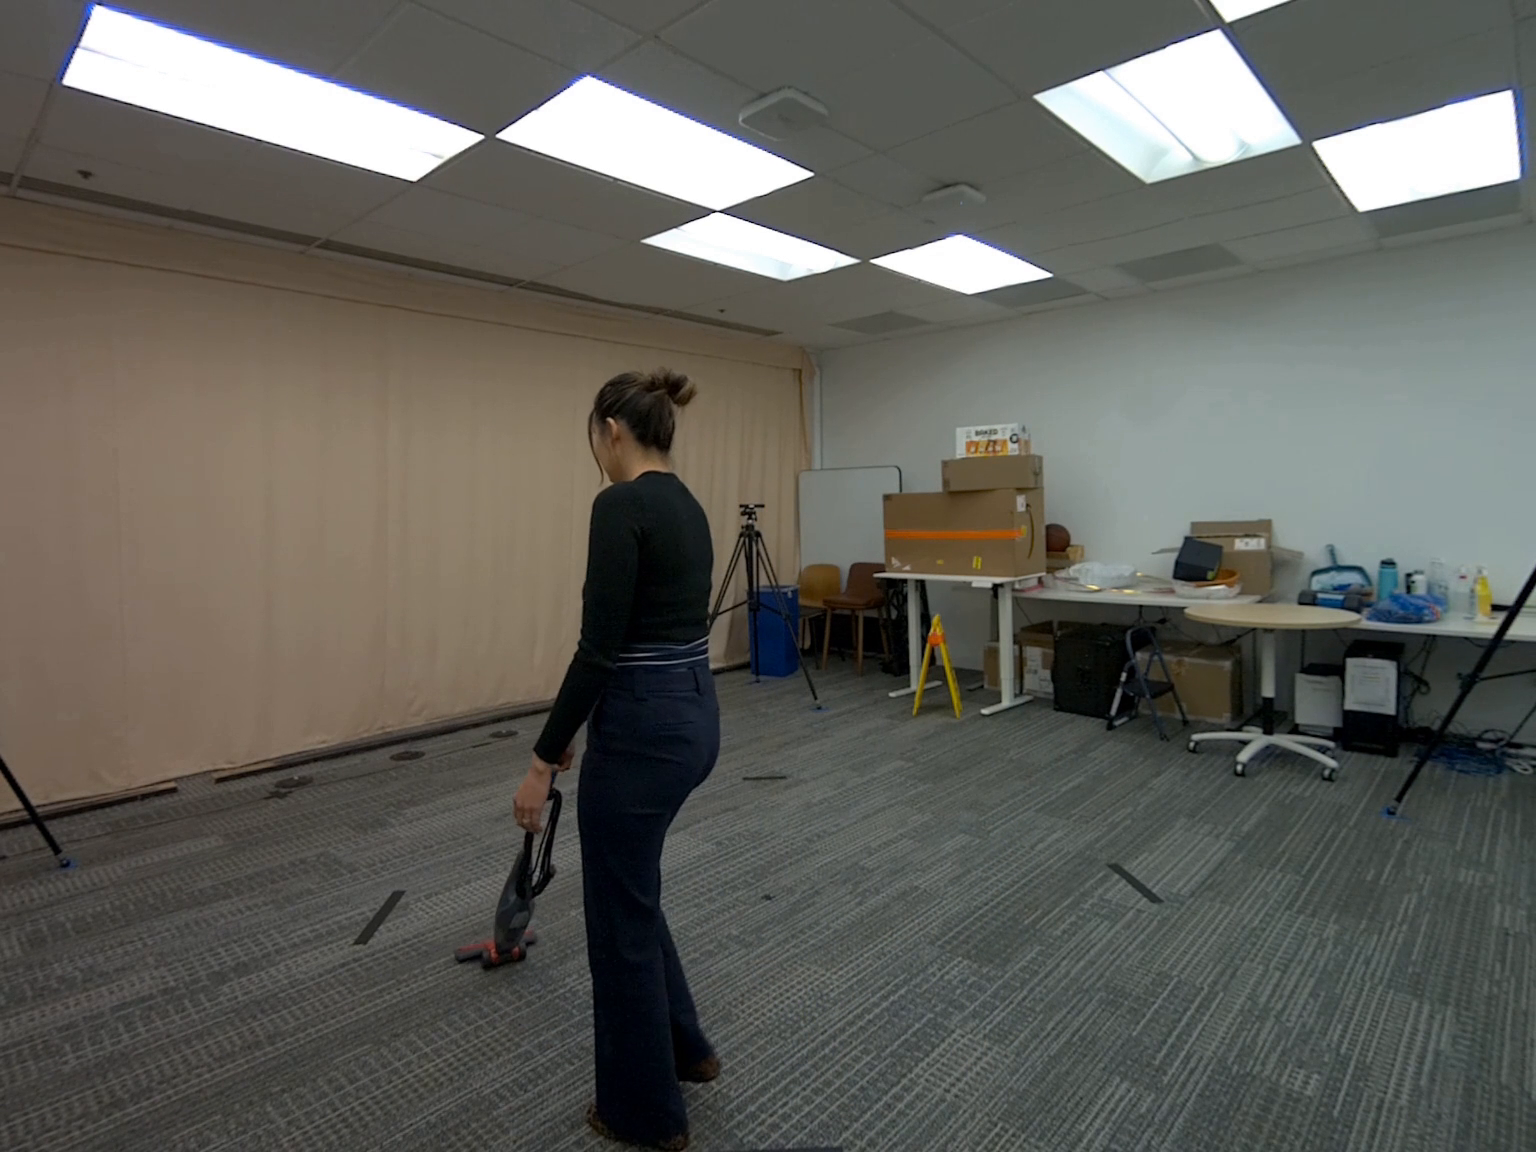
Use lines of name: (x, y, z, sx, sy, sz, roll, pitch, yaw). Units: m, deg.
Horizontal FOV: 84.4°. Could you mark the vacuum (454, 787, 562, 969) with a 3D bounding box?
vacuum: (-0.671, 0.819, 2.325, 0.246, 1.045, 0.148, -13, 52, -37)
